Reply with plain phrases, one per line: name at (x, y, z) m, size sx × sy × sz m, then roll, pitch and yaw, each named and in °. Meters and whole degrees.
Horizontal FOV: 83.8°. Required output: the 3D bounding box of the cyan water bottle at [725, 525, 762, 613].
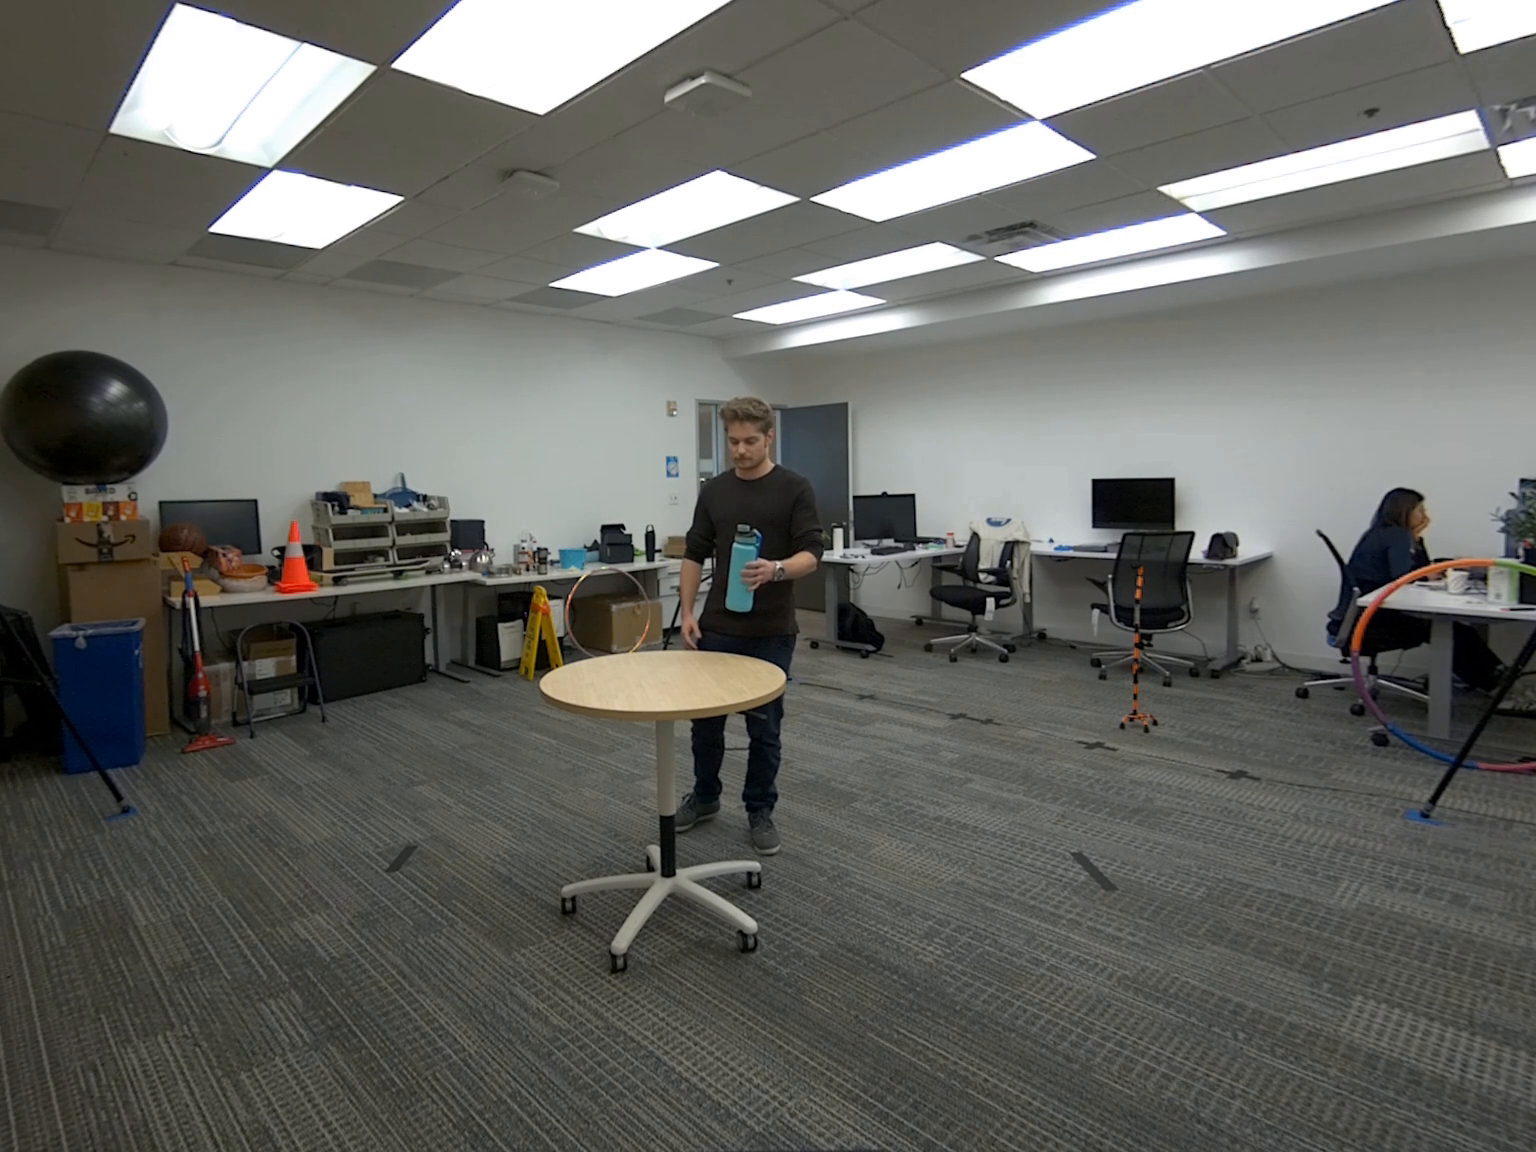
cyan water bottle at (-0.089, -0.029, 2.884) m, size 0.092 × 0.281 × 0.093 m, roll 7°, pitch 11°, yaw -3°
